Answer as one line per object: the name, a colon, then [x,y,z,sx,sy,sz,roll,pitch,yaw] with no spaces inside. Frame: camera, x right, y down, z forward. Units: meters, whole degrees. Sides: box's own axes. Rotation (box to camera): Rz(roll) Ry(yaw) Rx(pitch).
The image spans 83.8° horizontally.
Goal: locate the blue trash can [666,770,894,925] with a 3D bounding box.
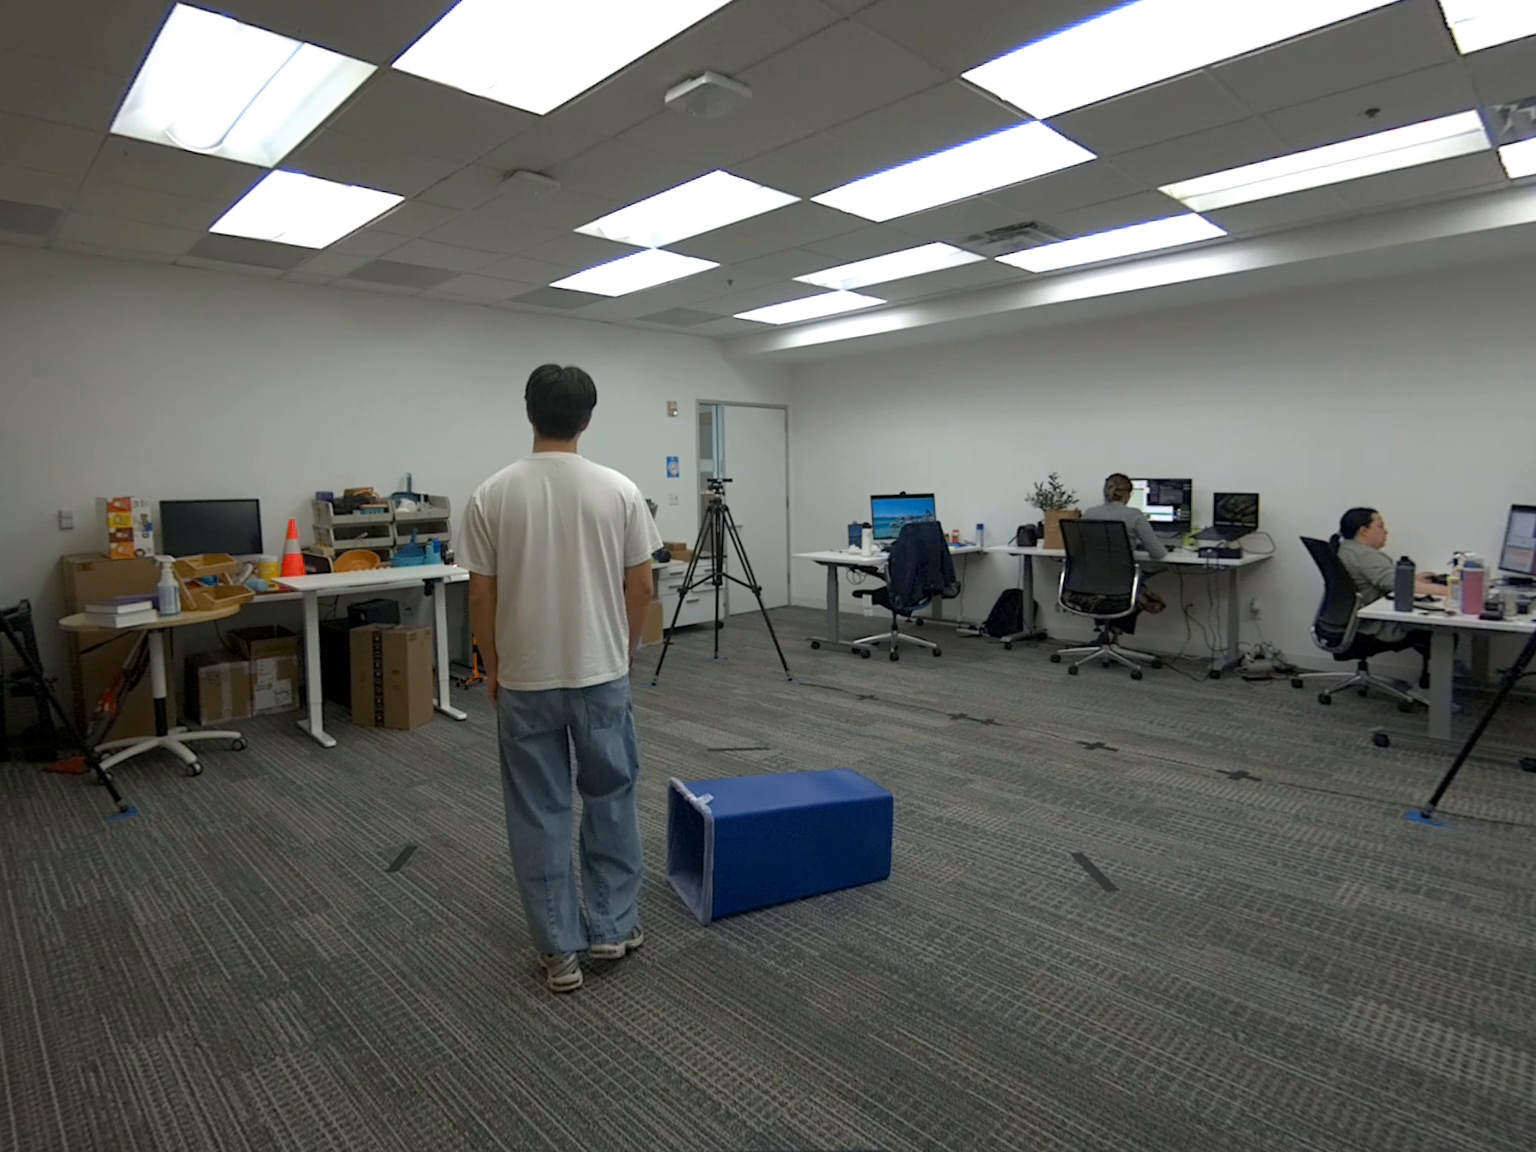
blue trash can: [0.047,0.895,2.961,0.698,0.377,0.383,-1,5,-25]
